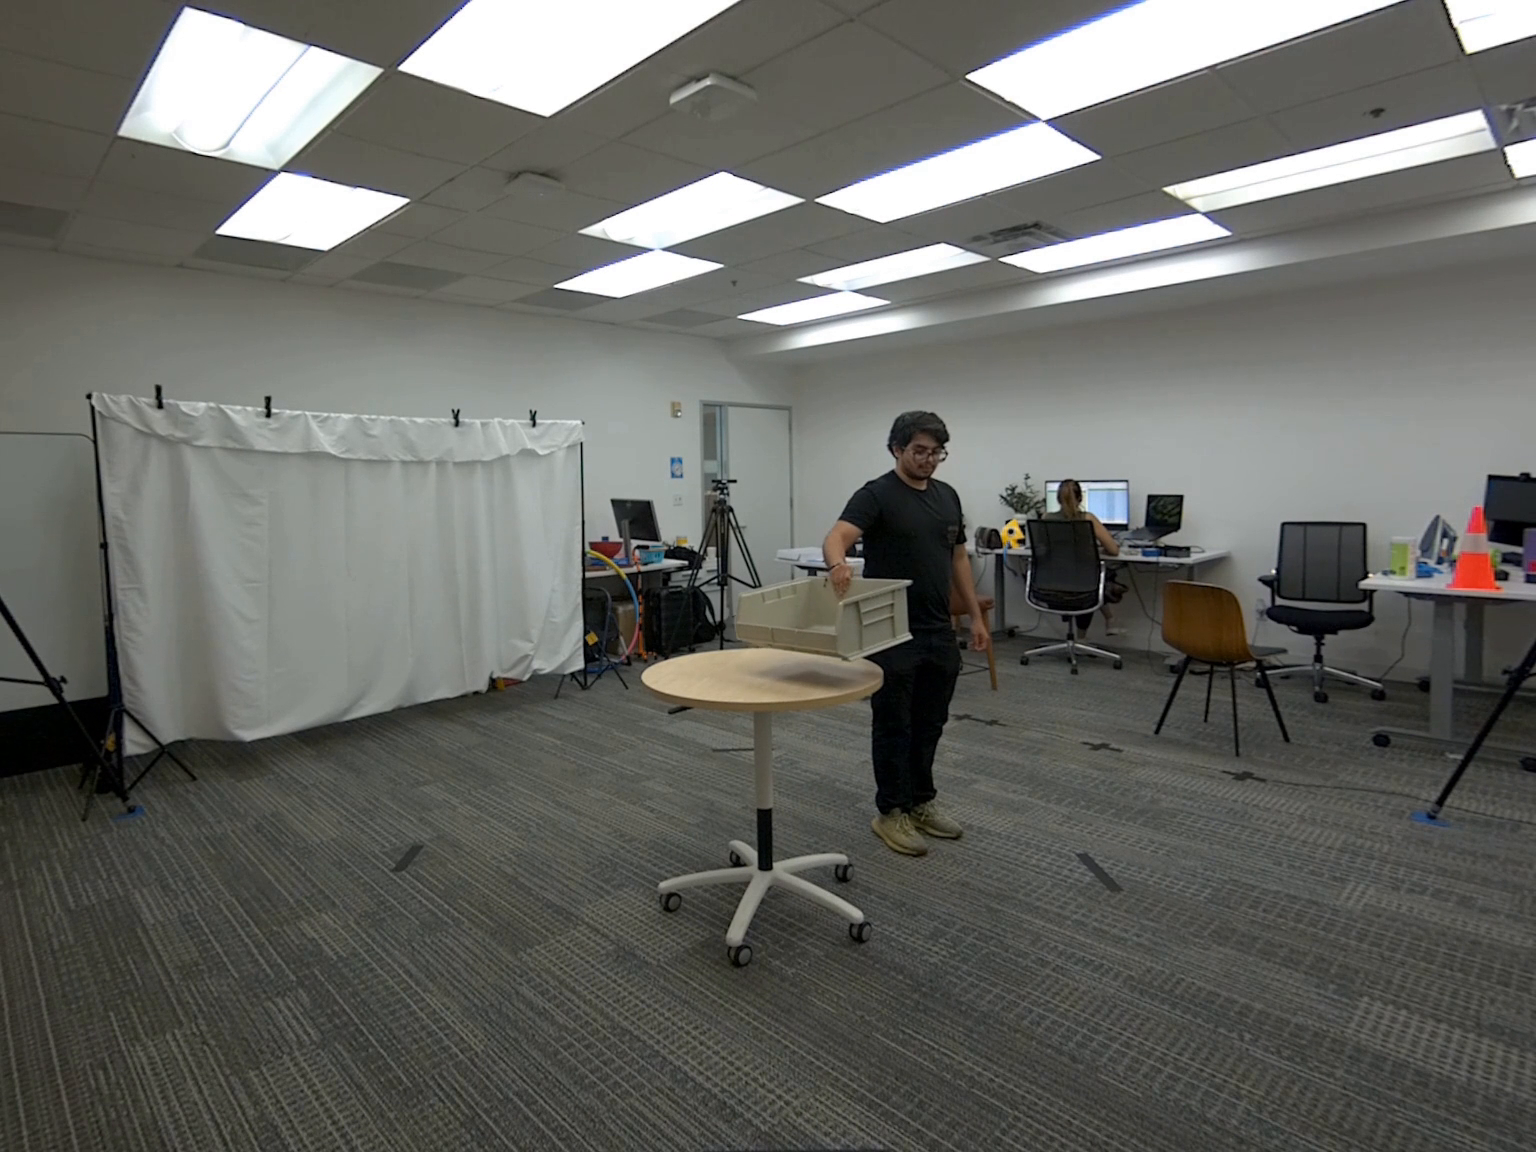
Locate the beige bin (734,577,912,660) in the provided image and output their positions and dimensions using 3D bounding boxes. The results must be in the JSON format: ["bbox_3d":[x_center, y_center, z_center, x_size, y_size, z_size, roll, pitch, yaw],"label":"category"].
[{"bbox_3d":[0.172,0.128,2.655,0.368,0.188,0.434,-11,8,-44],"label":"beige bin"}]
